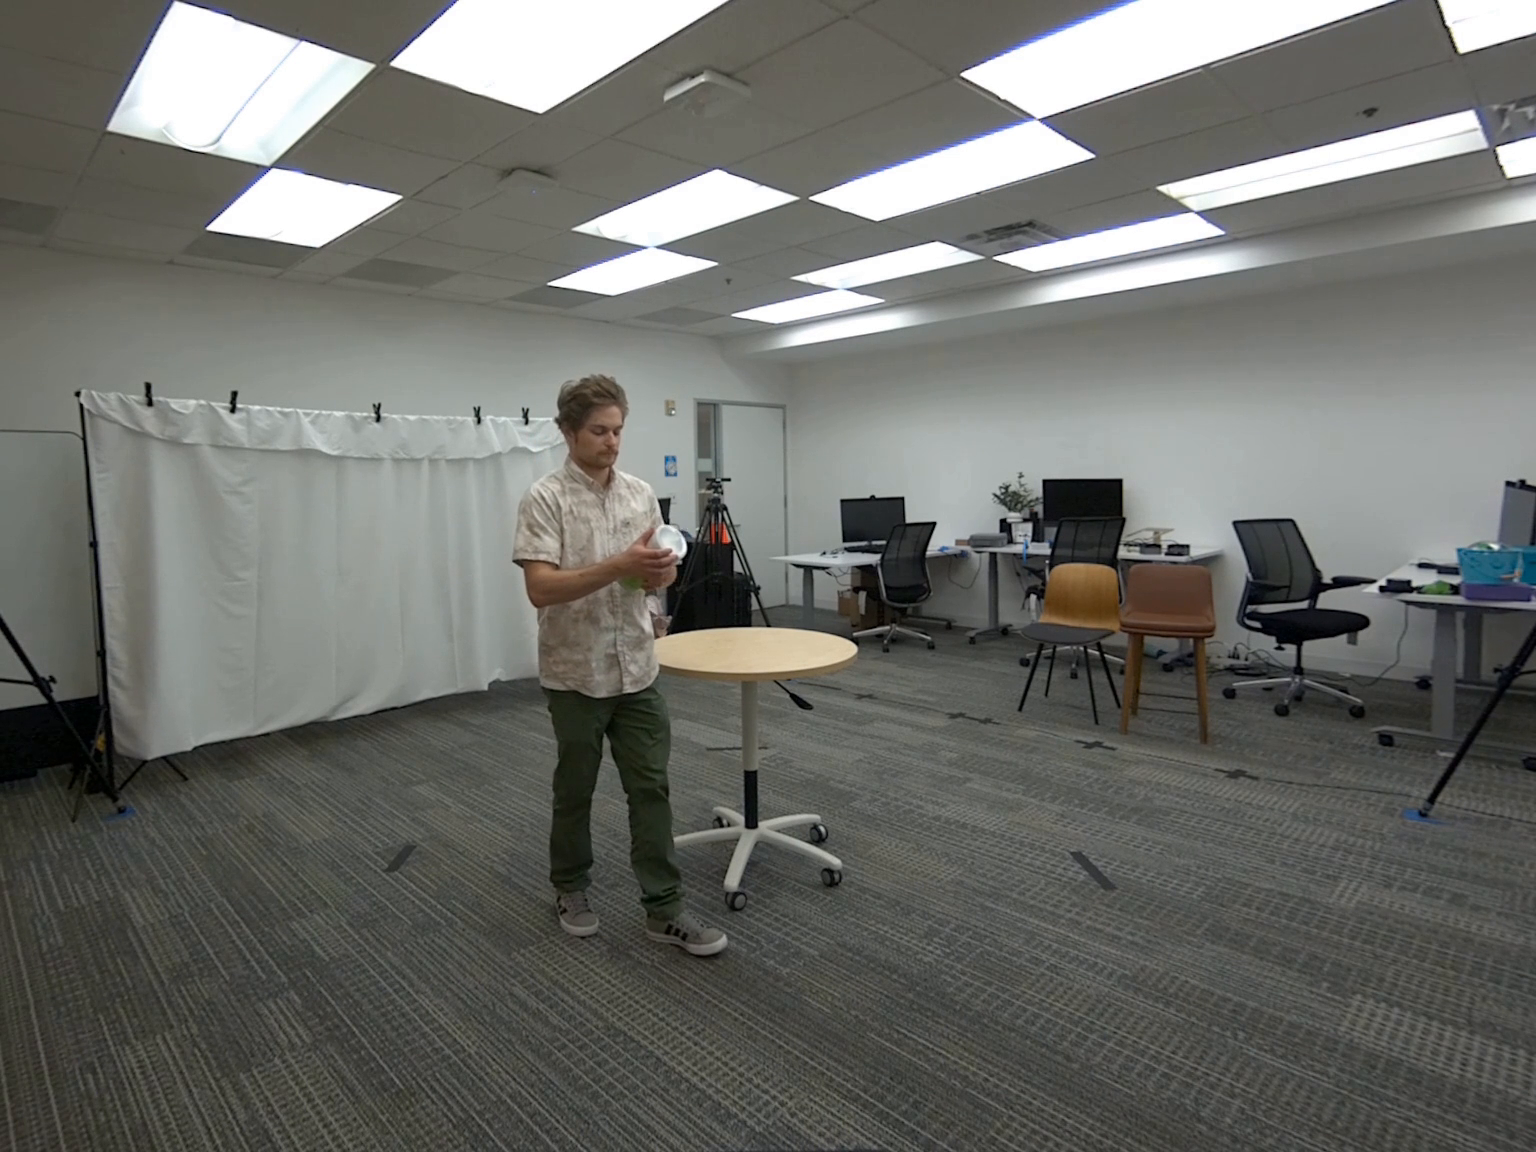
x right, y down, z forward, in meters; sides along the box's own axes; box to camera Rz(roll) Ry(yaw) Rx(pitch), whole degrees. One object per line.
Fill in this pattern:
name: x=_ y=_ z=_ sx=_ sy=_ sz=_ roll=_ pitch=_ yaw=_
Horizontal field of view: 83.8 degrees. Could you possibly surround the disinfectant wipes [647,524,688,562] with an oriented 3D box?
disinfectant wipes: x=-0.337 y=-0.048 z=2.393 sx=0.219 sy=0.119 sz=0.115 roll=-33 pitch=-13 yaw=29
